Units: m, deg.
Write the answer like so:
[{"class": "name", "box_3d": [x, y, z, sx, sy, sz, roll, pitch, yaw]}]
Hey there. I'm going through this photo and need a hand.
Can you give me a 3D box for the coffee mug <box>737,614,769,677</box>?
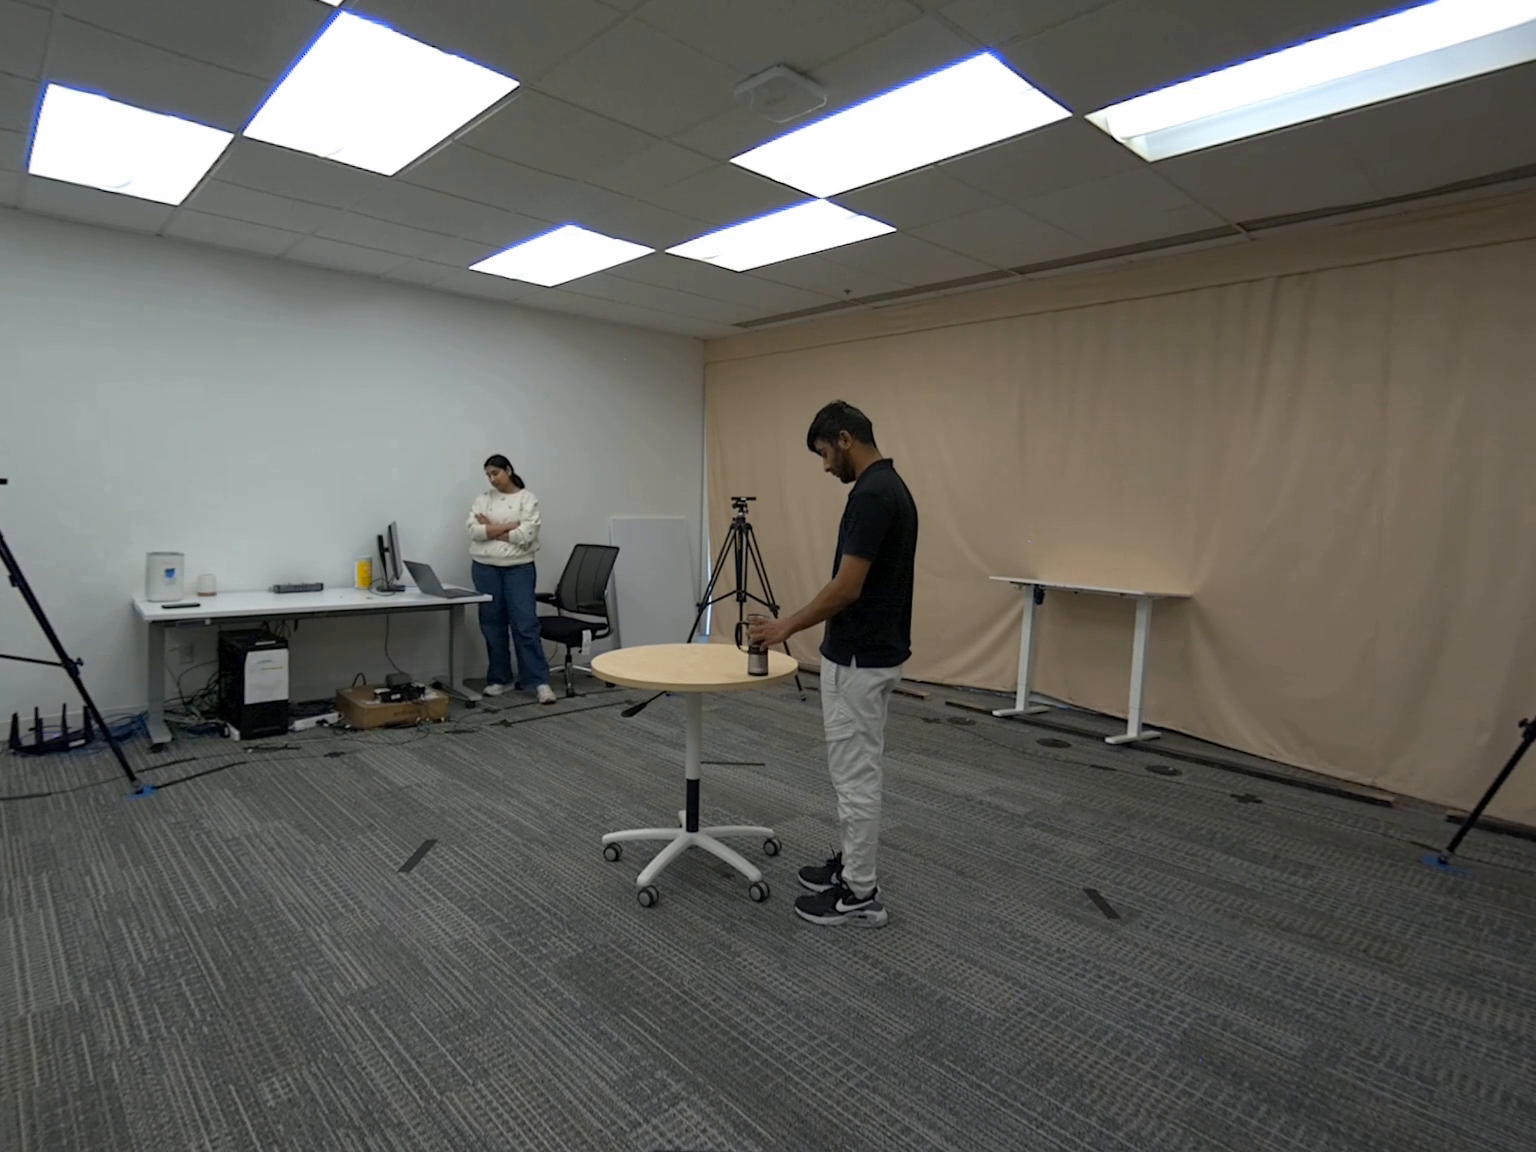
[{"class": "coffee mug", "box_3d": [-0.050, 0.244, 2.905, 0.124, 0.202, 0.087, 6, 8, 20]}]
